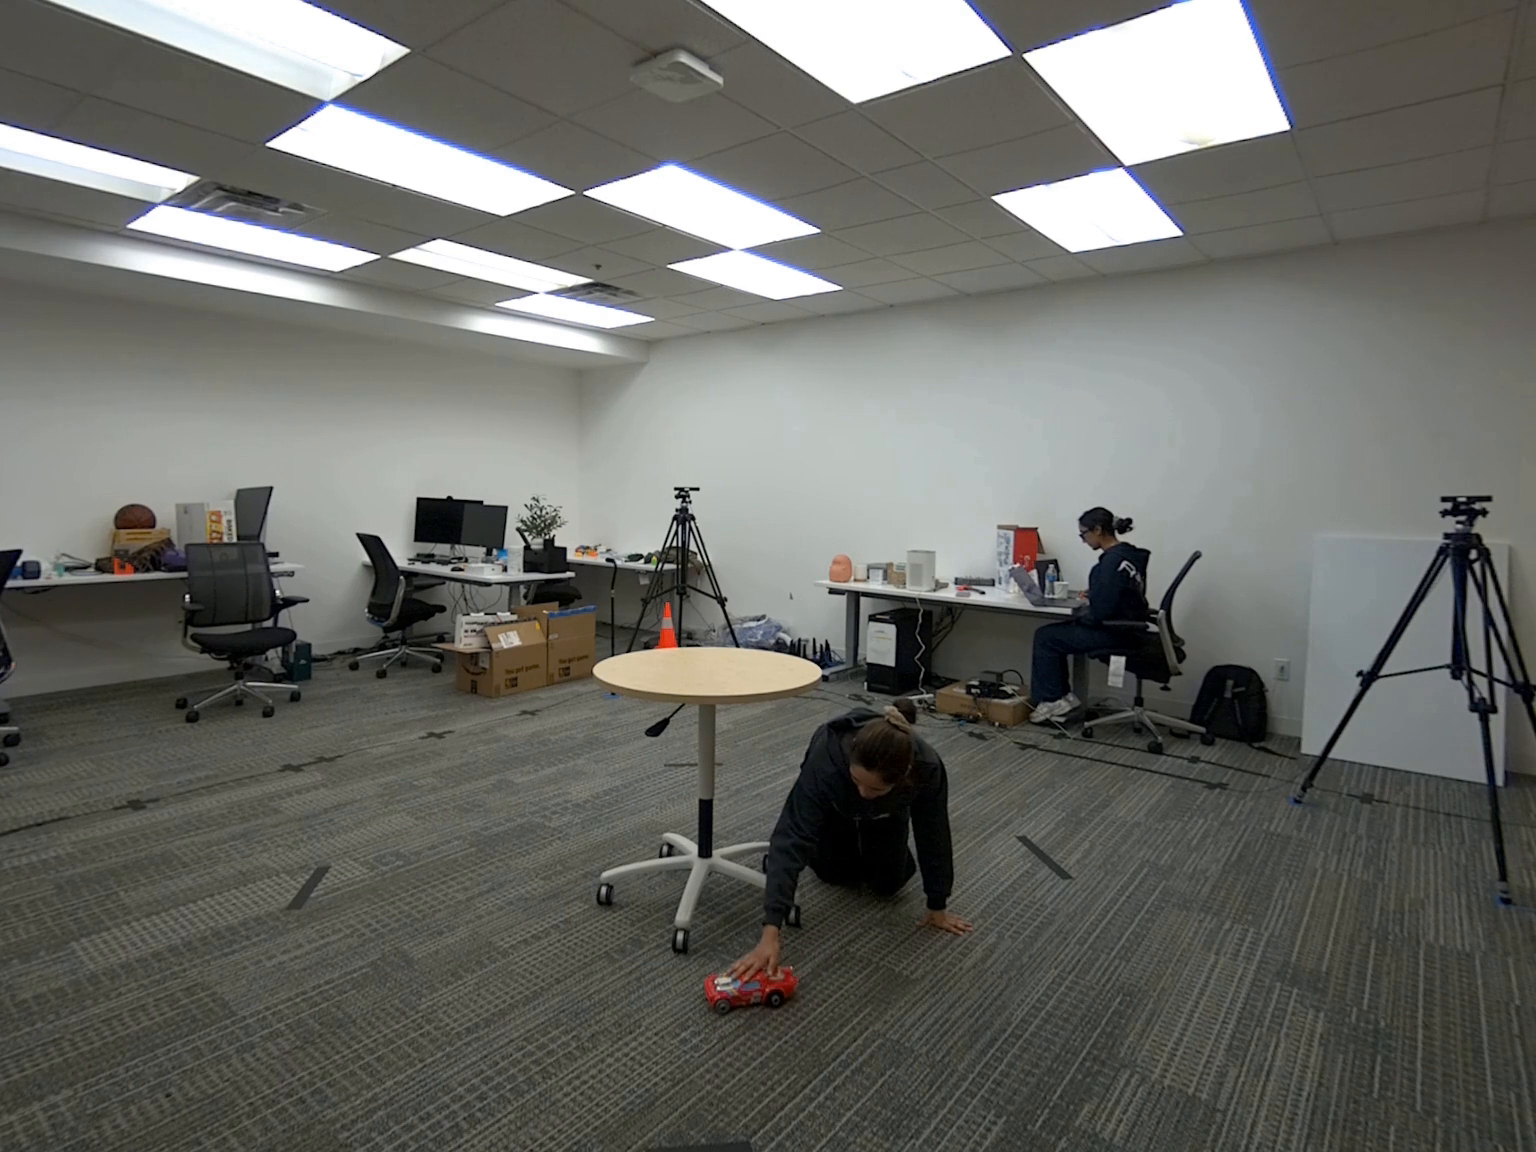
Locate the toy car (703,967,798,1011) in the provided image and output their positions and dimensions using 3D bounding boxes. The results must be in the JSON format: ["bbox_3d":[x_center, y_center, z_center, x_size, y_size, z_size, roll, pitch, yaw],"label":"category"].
[{"bbox_3d":[-0.041,1.115,2.325,0.252,0.082,0.133,-13,8,-12],"label":"toy car"}]
